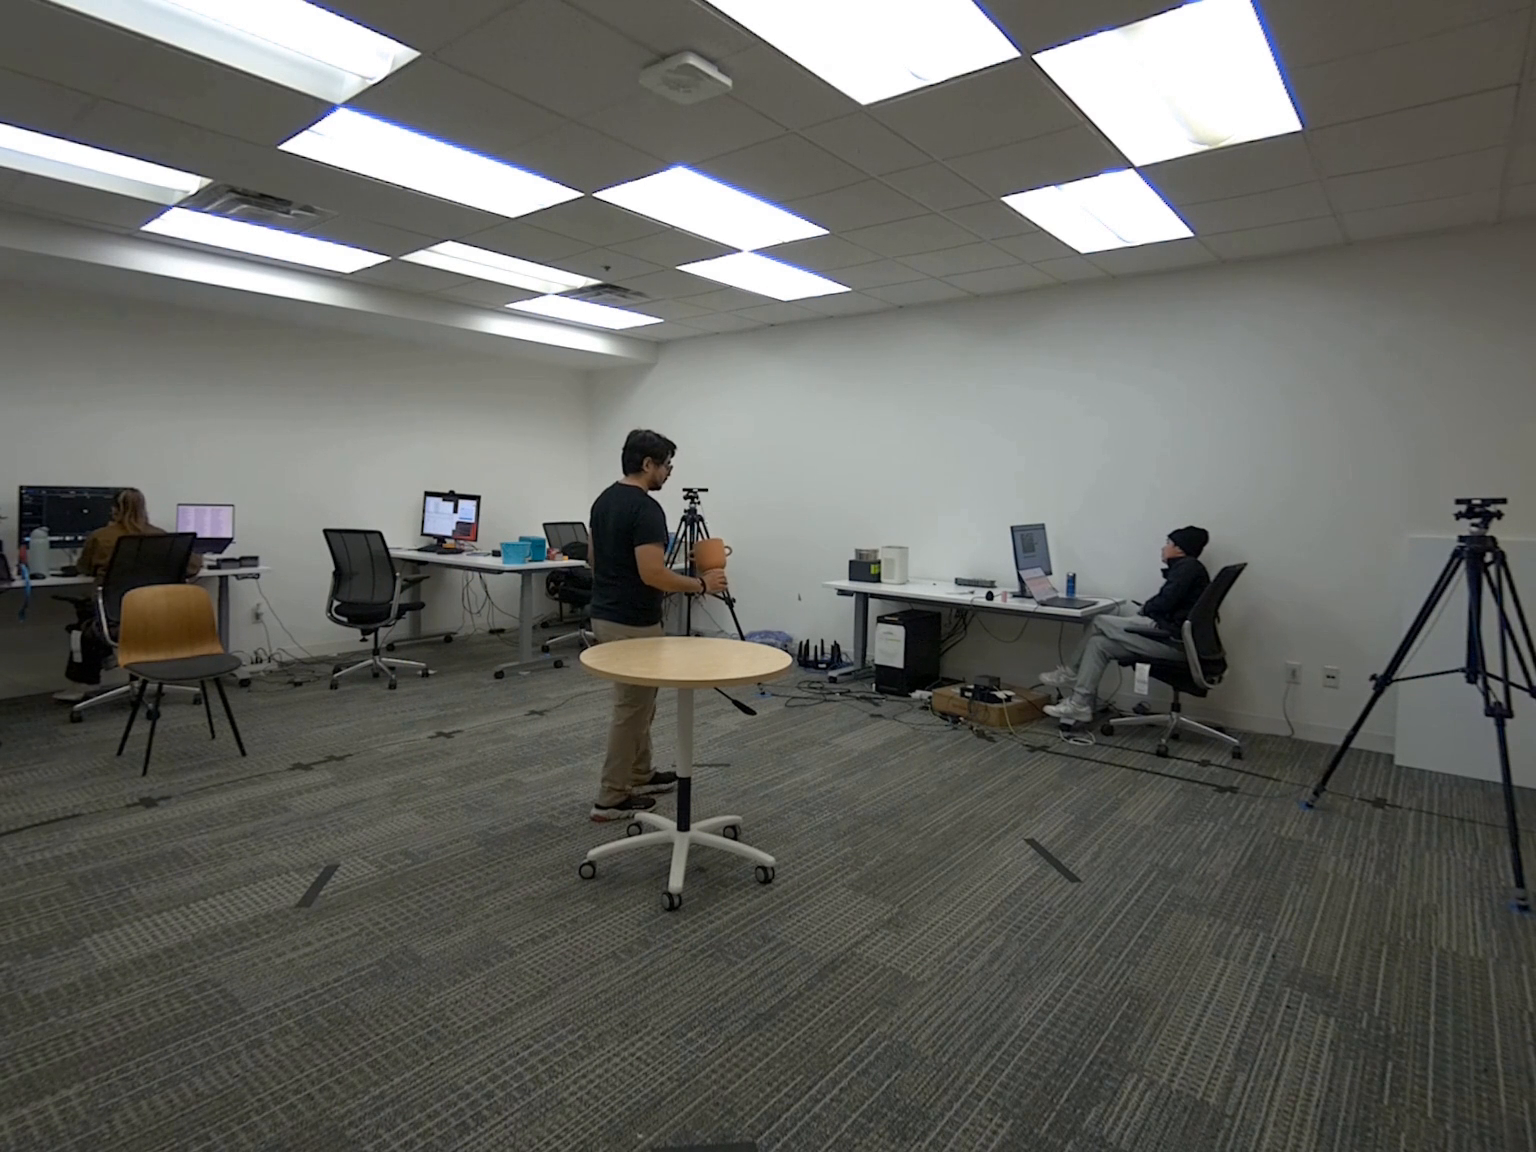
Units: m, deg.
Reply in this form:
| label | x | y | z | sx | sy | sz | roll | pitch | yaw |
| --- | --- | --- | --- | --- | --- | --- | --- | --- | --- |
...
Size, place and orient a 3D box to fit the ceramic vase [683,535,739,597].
| label | x | y | z | sx | sy | sz | roll | pitch | yaw |
| --- | --- | --- | --- | --- | --- | --- | --- | --- | --- |
| ceramic vase | -0.251 | -0.042 | 3.646 | 0.162 | 0.223 | 0.130 | -18 | -16 | 31 |
